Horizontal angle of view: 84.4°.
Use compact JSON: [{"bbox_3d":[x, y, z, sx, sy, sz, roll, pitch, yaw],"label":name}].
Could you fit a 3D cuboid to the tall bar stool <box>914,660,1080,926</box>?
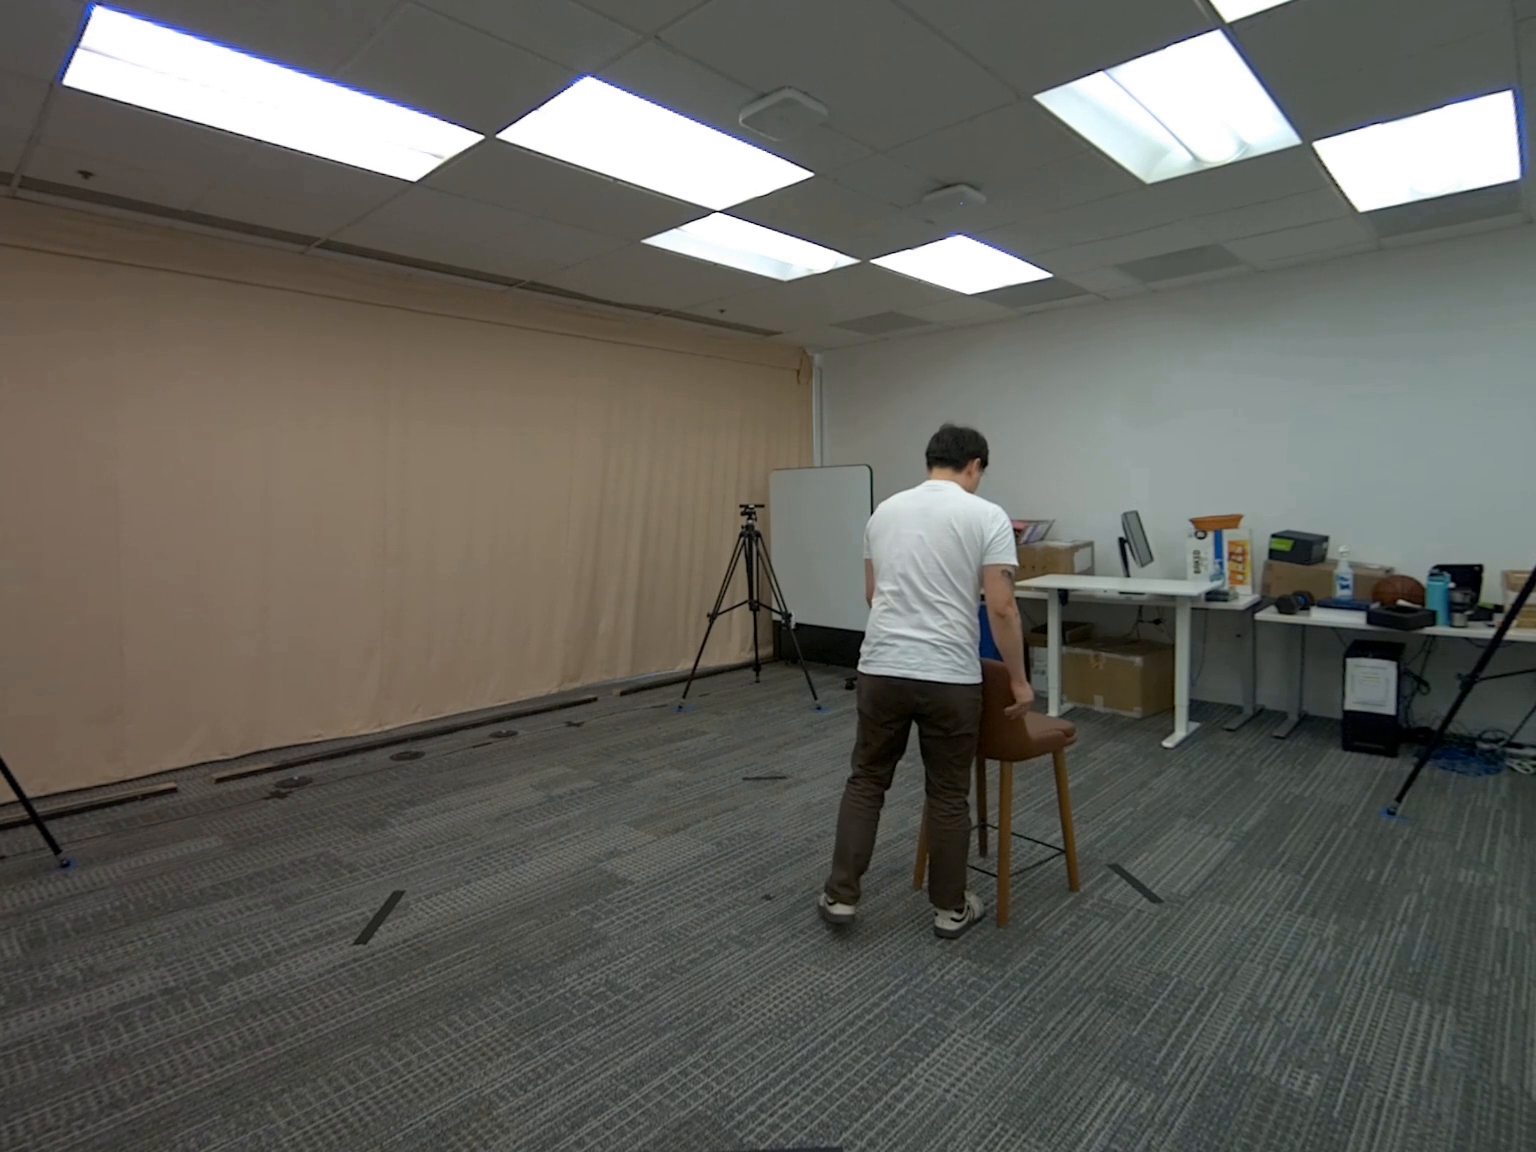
[{"bbox_3d":[0.800,0.689,2.995,0.454,0.887,0.471,-6,6,-39],"label":"tall bar stool"}]
